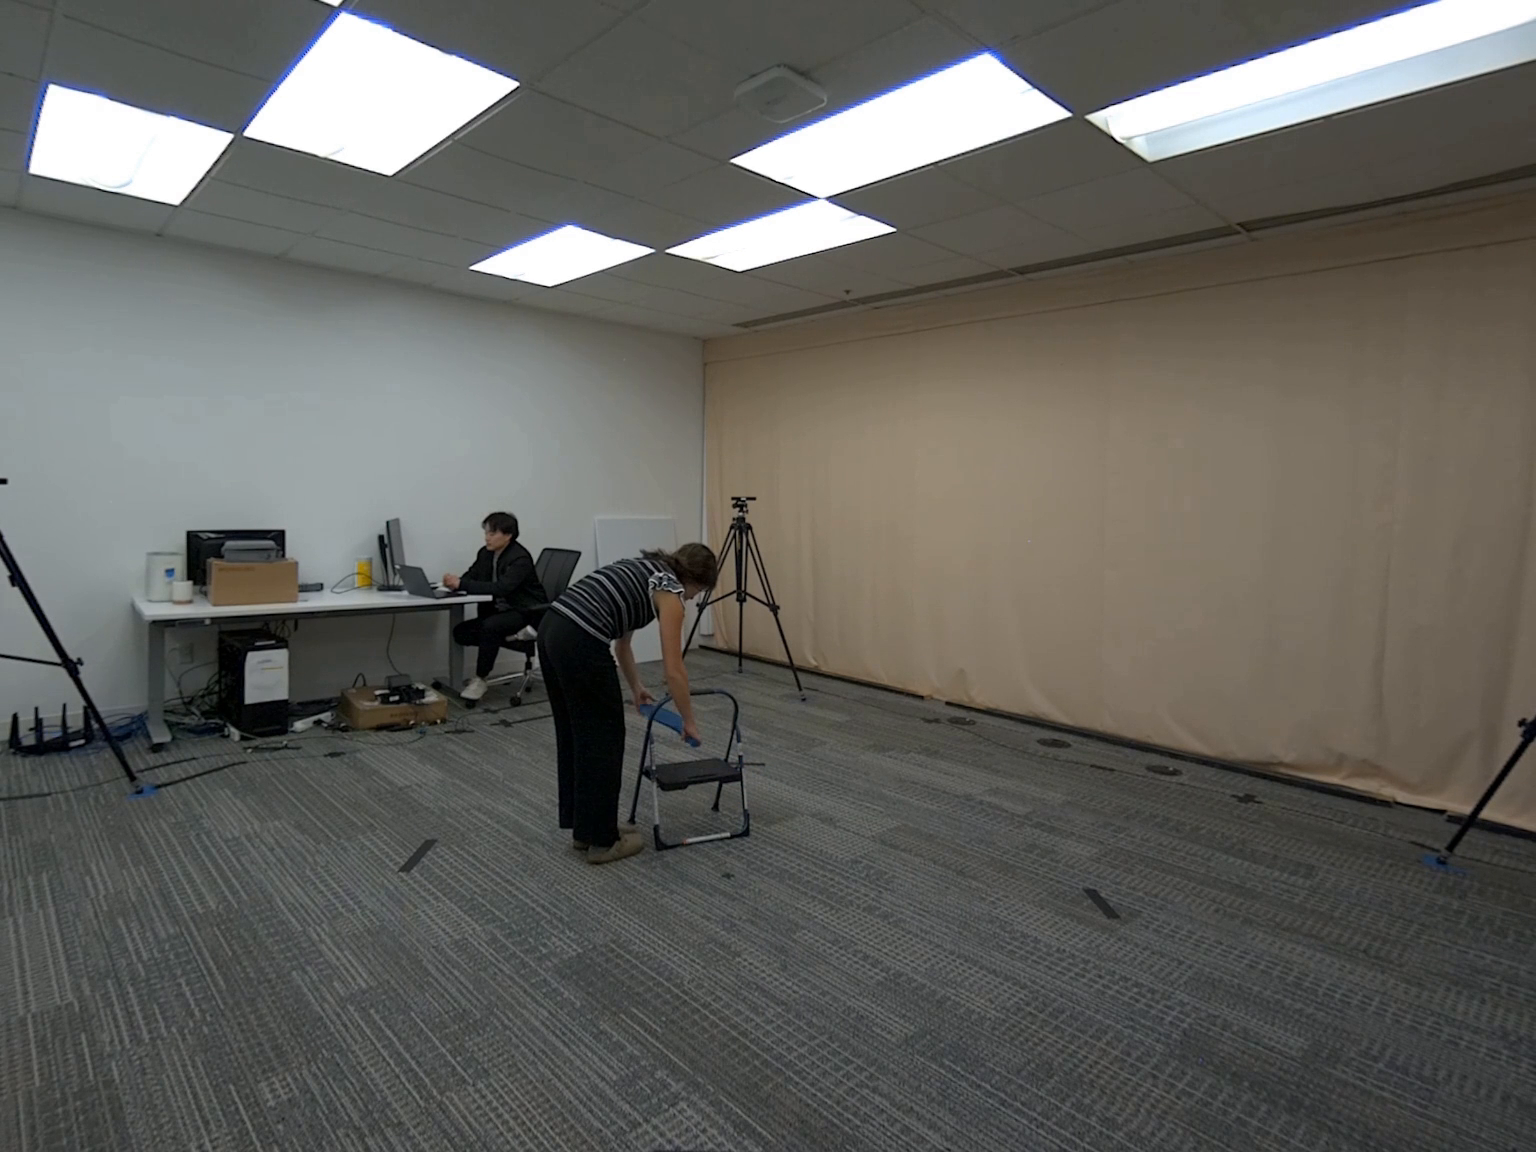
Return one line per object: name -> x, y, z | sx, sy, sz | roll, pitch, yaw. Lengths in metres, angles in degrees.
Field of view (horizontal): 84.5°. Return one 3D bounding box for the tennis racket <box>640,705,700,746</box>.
tennis racket -> -0.401, 0.618, 3.489 | 0.209, 0.032, 0.444 | 17, 5, -28
